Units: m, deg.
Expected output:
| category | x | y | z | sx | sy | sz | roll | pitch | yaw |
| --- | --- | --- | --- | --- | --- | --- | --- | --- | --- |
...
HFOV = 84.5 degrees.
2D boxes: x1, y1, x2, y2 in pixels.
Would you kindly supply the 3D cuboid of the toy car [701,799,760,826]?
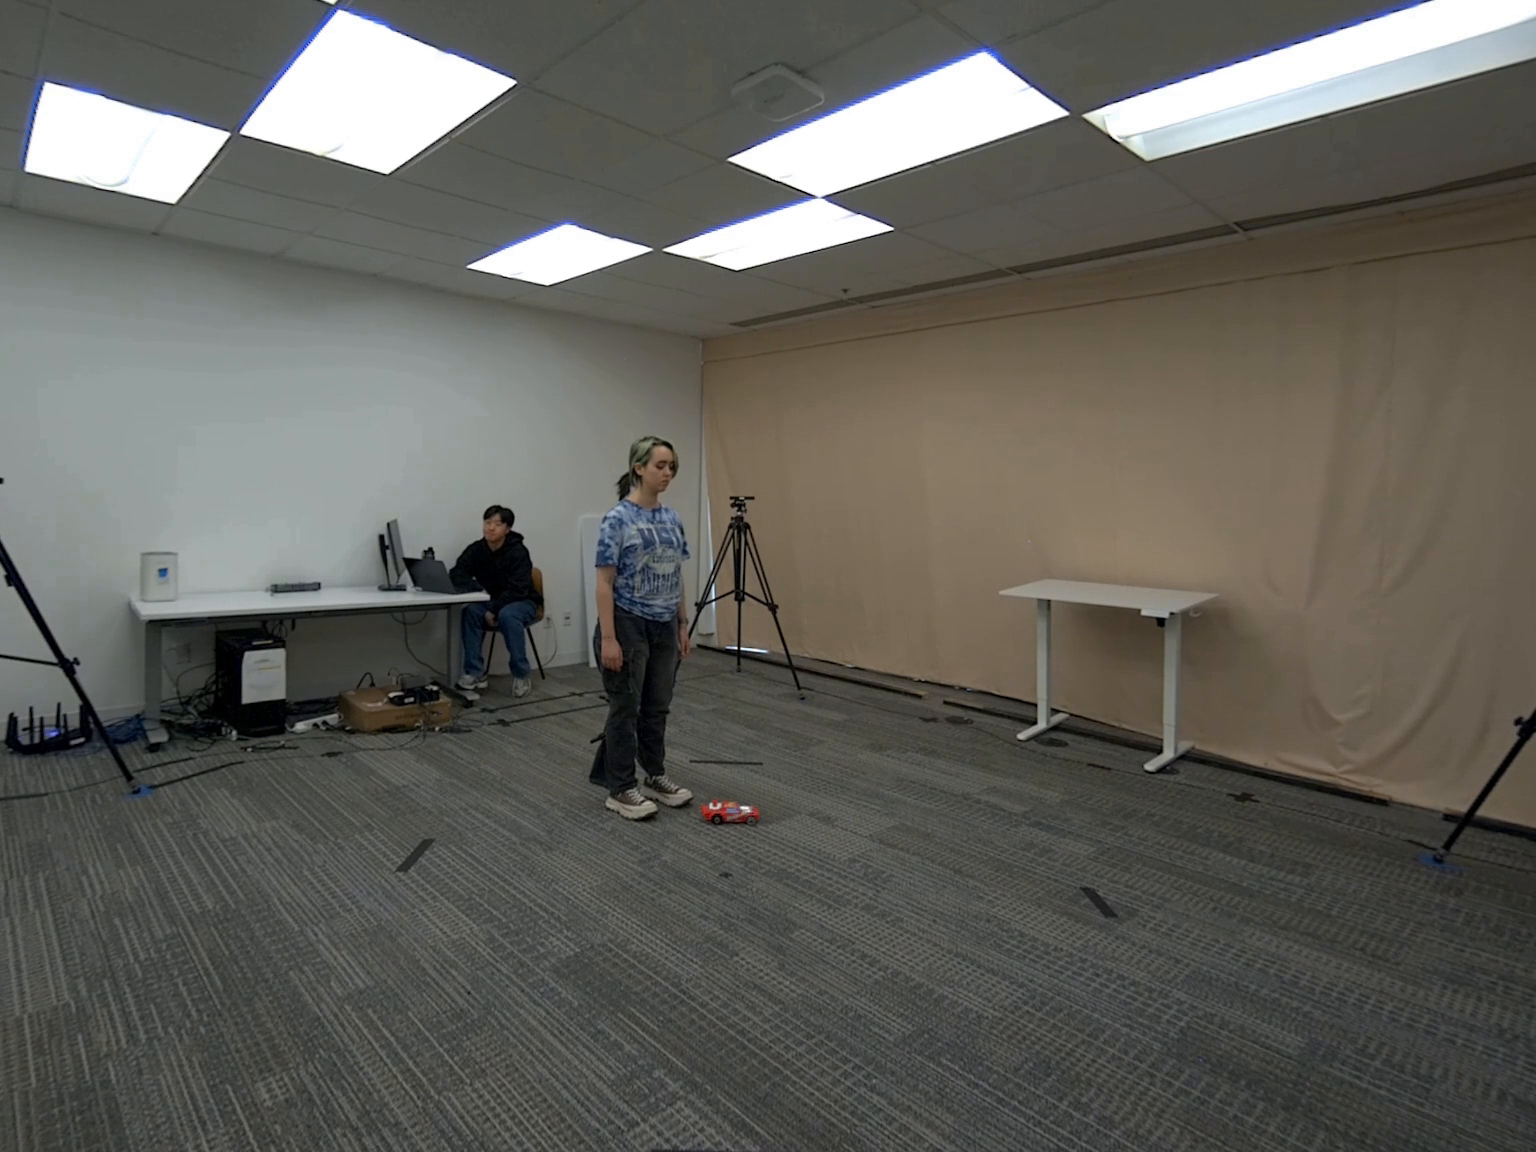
| category | x | y | z | sx | sy | sz | roll | pitch | yaw |
| --- | --- | --- | --- | --- | --- | --- | --- | --- | --- |
| toy car | -0.179 | 1.026 | 3.637 | 0.254 | 0.083 | 0.131 | 13 | 5 | -3 |
